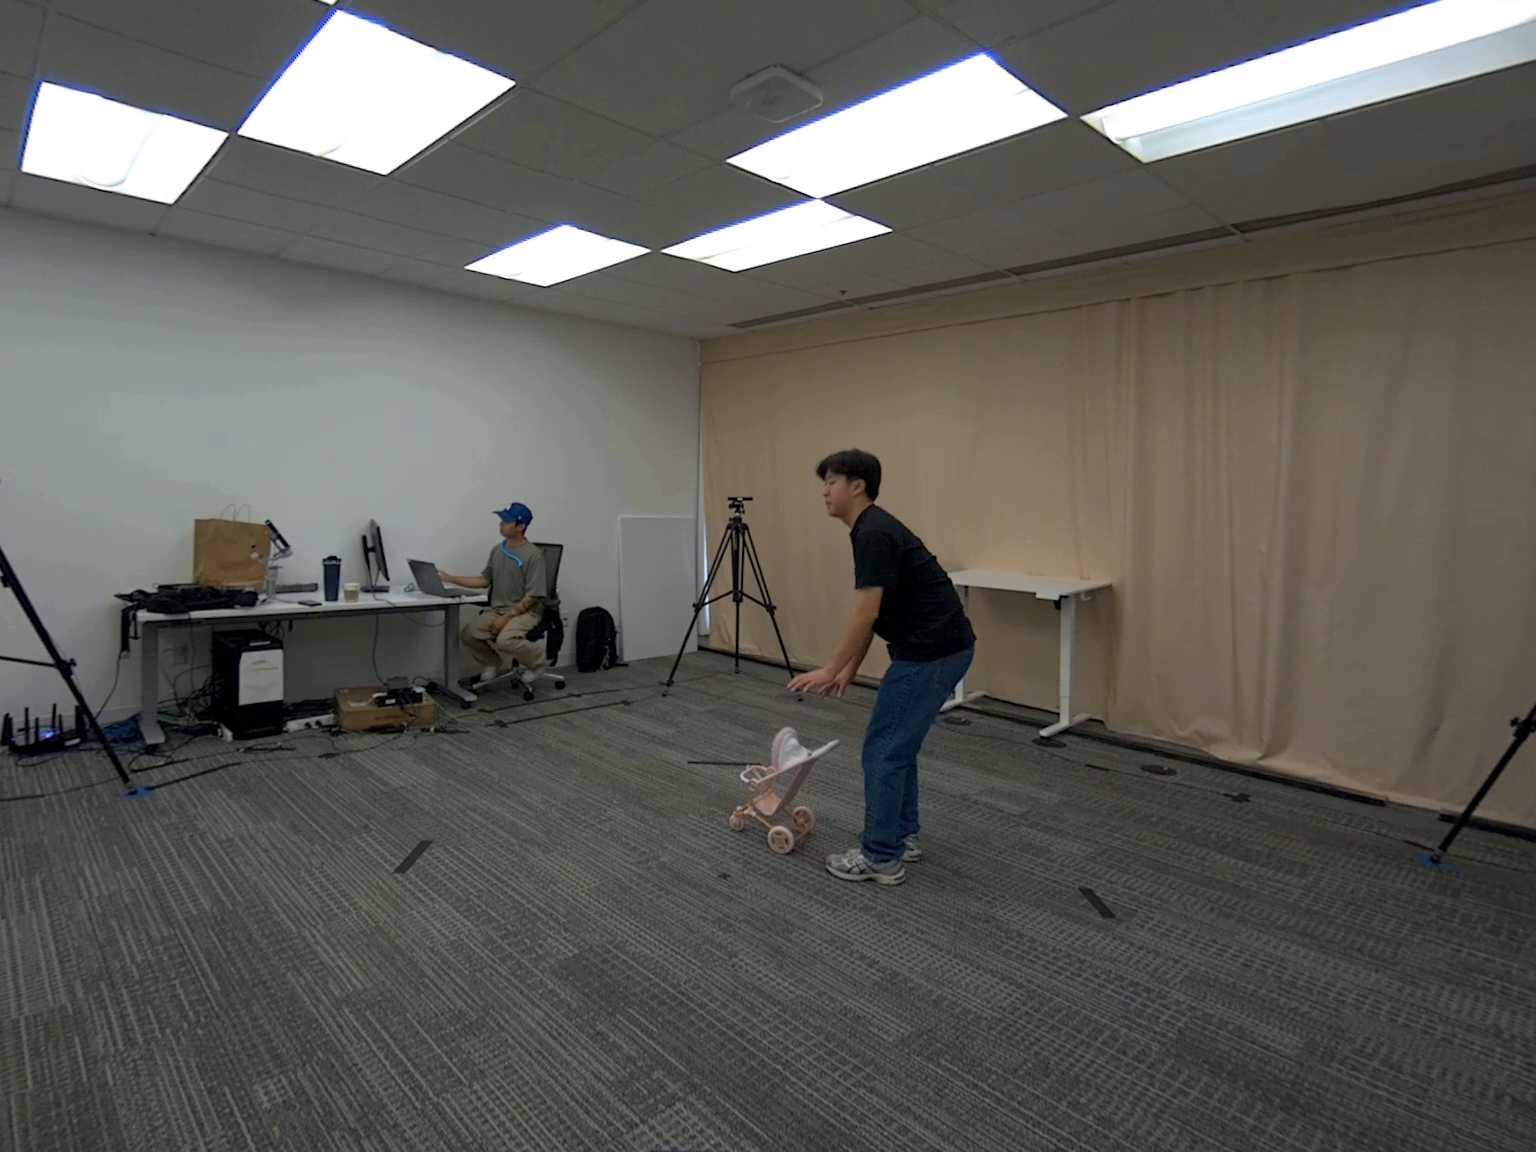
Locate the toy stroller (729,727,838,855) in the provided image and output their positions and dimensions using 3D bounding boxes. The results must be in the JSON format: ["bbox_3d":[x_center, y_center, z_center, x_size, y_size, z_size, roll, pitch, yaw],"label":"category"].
[{"bbox_3d":[0.041,0.859,3.450,0.350,0.532,0.276,22,12,28],"label":"toy stroller"}]
